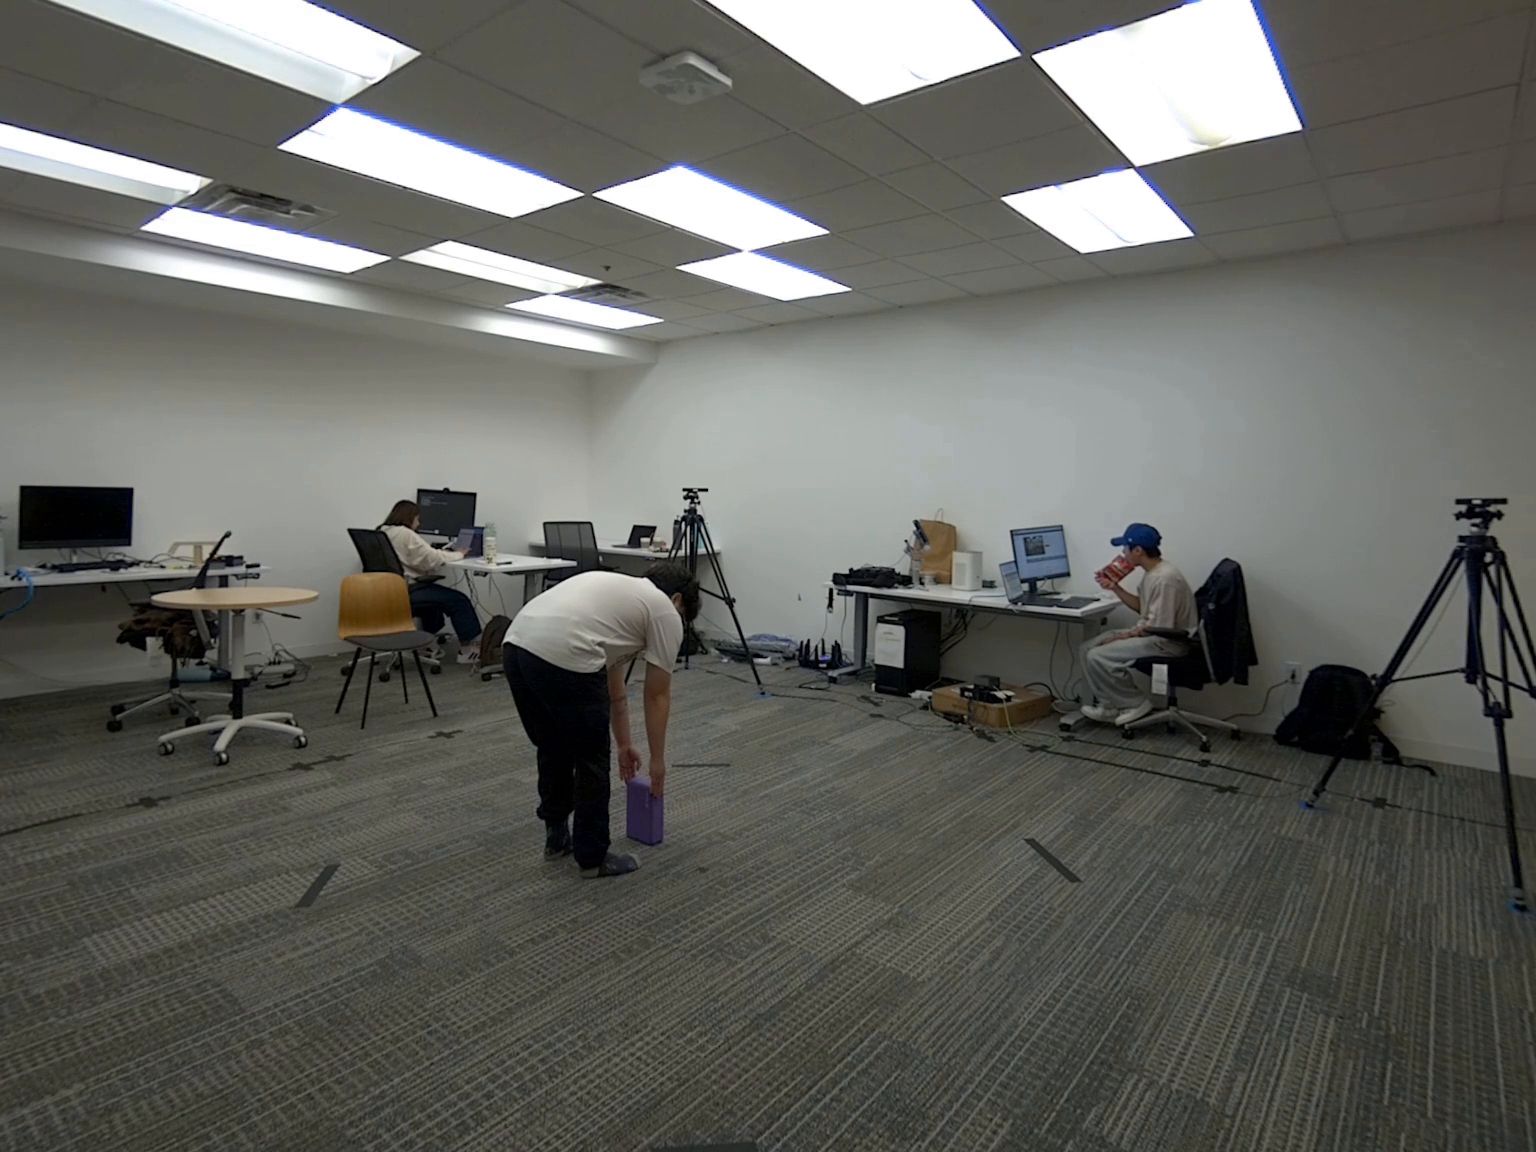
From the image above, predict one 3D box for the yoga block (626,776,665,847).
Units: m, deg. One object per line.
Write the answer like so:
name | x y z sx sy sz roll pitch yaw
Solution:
yoga block | -0.504 0.930 3.370 0.154 0.228 0.074 1 4 38
